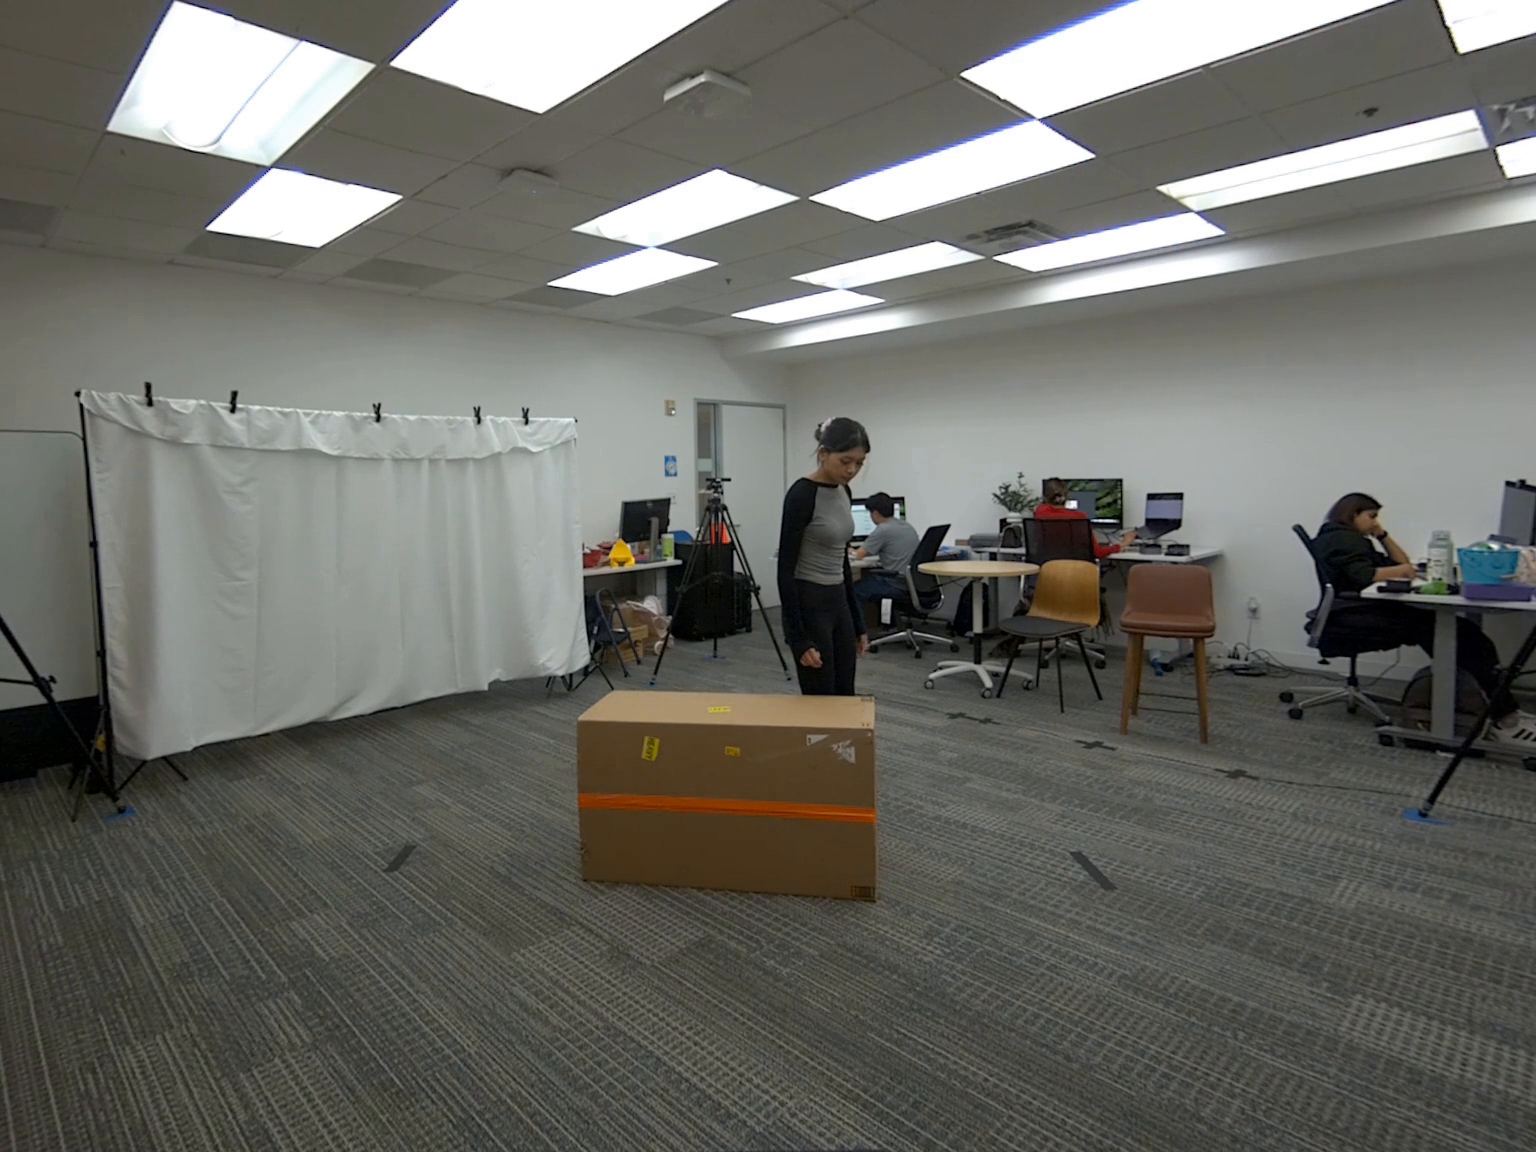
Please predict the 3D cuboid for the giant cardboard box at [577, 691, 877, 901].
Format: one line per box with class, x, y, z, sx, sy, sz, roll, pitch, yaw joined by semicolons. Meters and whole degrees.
giant cardboard box;-0.130;0.758;3.082;1.036;0.576;0.423;0;4;10
